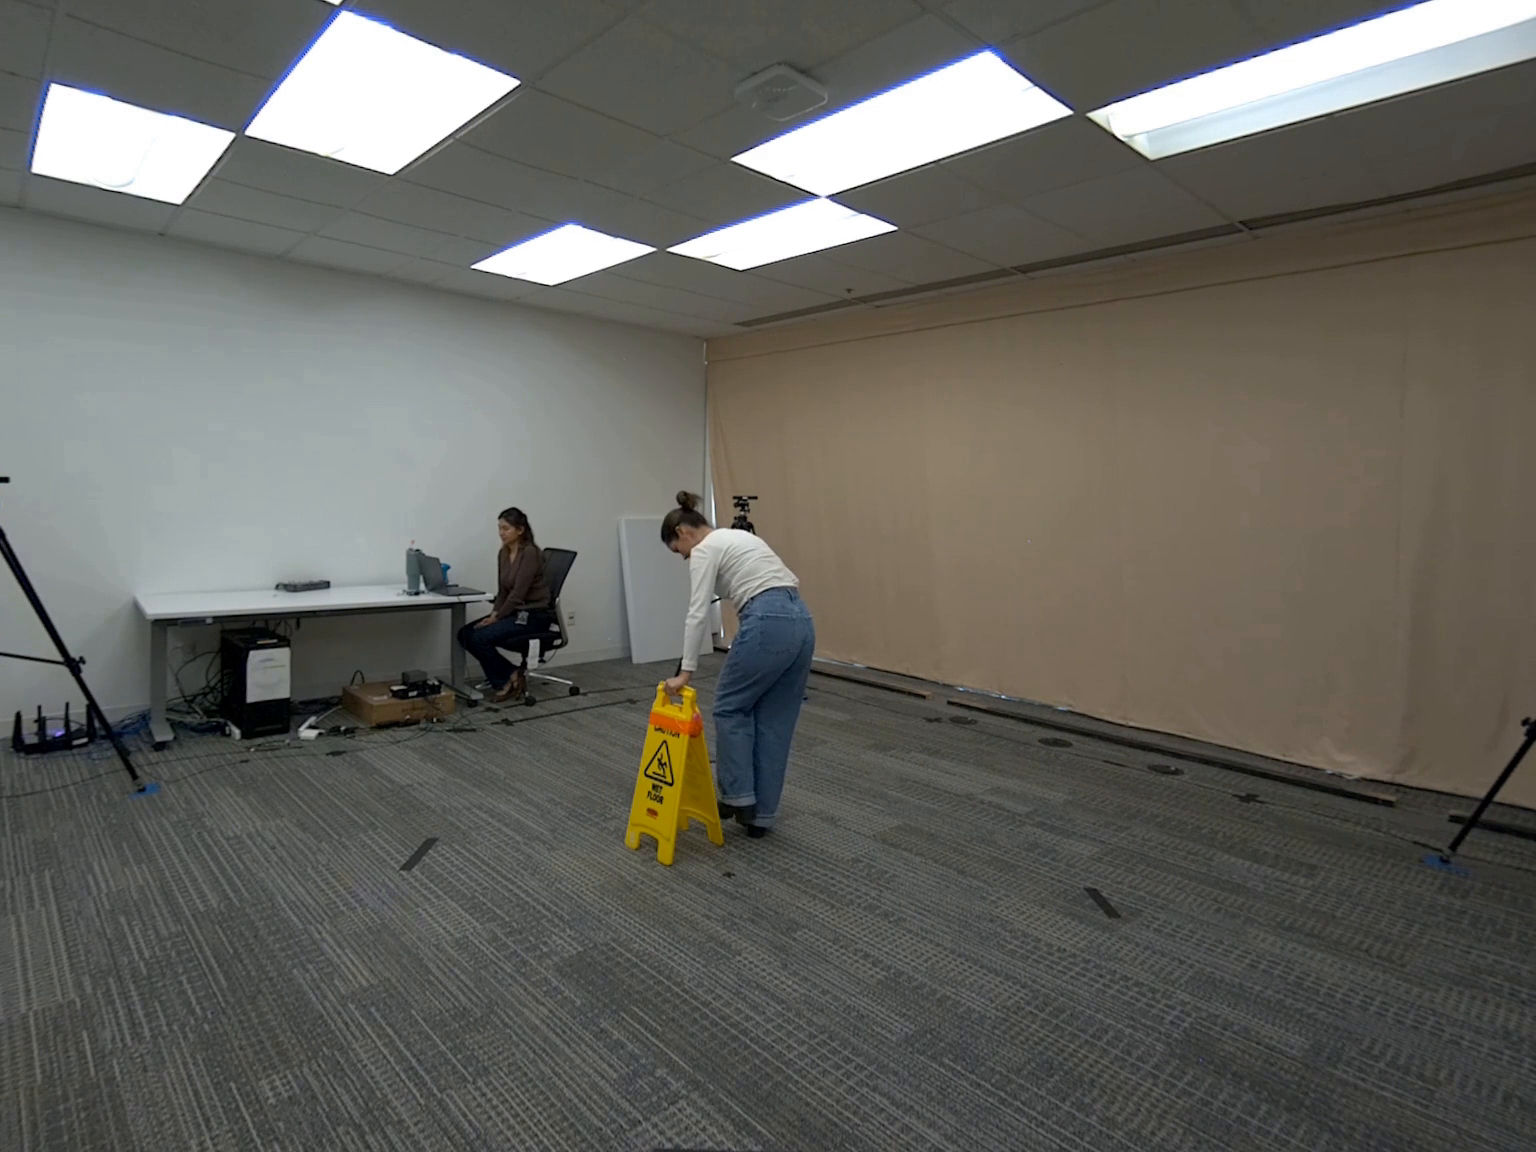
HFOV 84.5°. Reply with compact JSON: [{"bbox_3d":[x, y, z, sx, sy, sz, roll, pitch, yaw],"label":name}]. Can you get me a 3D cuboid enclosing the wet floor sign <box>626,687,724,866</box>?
[{"bbox_3d":[-0.375,0.753,3.349,0.289,0.645,0.283,4,3,42],"label":"wet floor sign"}]
